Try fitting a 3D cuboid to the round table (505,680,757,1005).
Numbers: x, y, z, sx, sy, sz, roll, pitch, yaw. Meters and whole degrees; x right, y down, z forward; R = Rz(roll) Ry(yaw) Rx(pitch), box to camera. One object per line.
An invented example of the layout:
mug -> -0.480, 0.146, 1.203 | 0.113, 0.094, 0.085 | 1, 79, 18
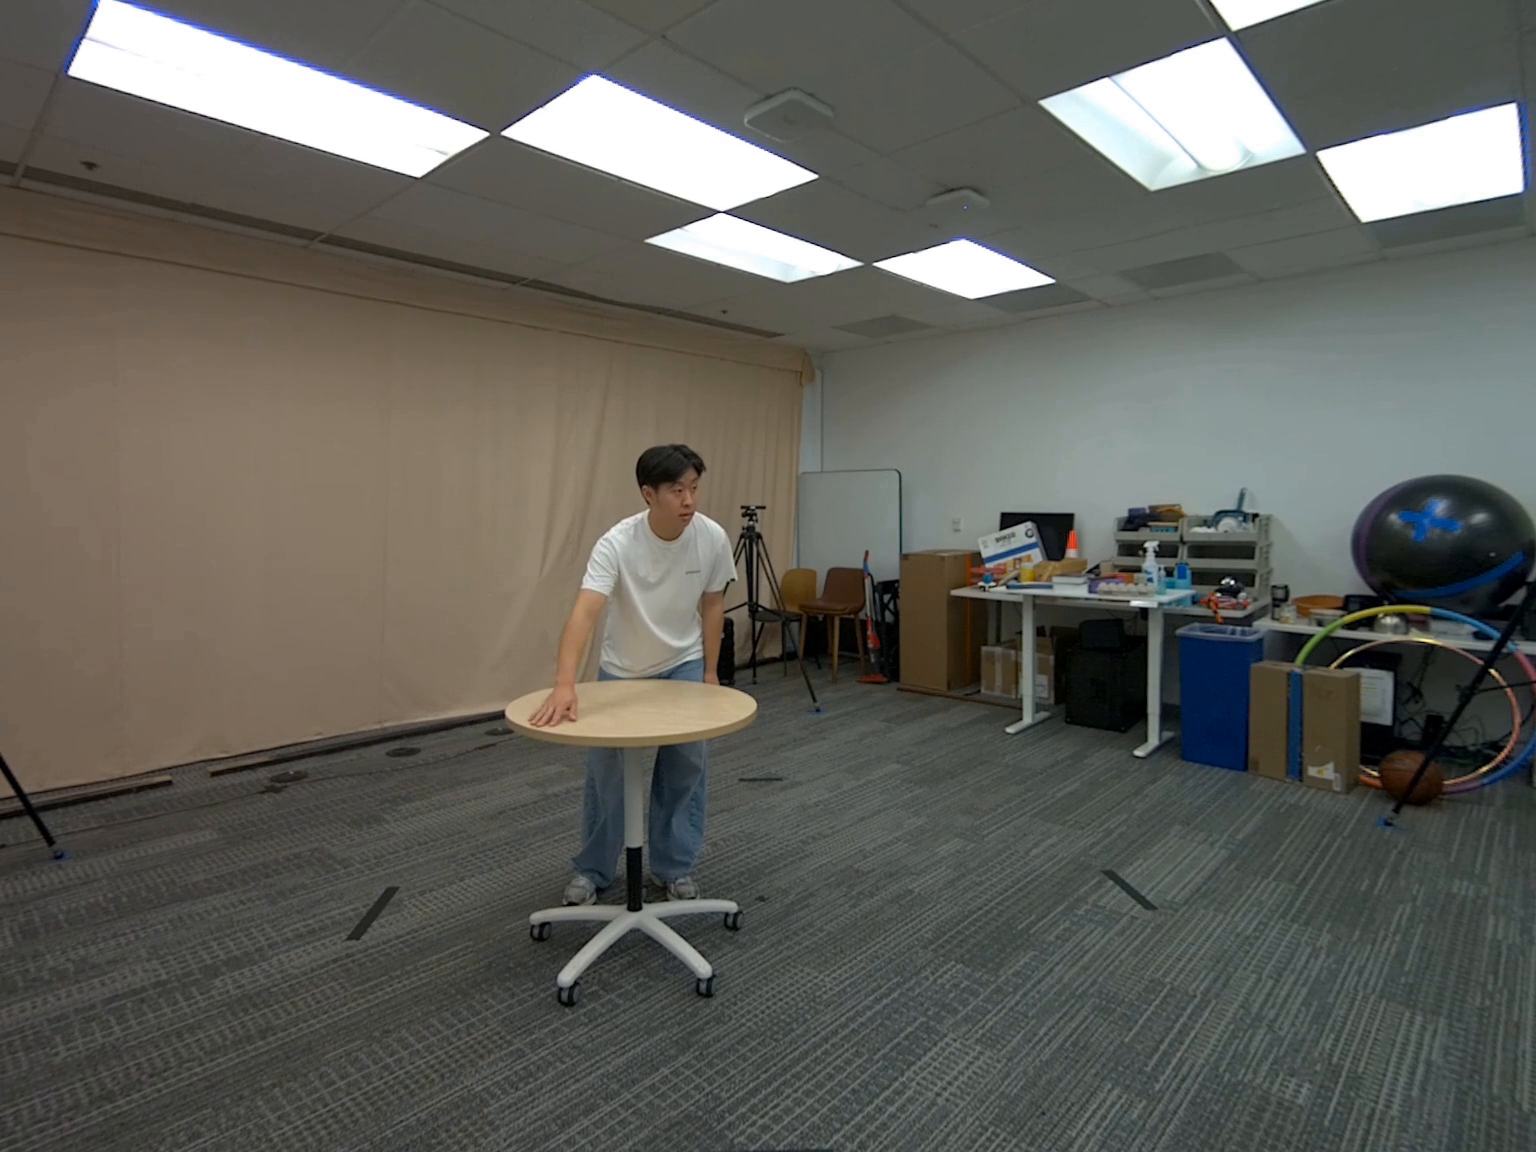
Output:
round table -> -0.404, 0.785, 2.610 | 0.763, 0.792, 0.766 | 0, 4, -2
